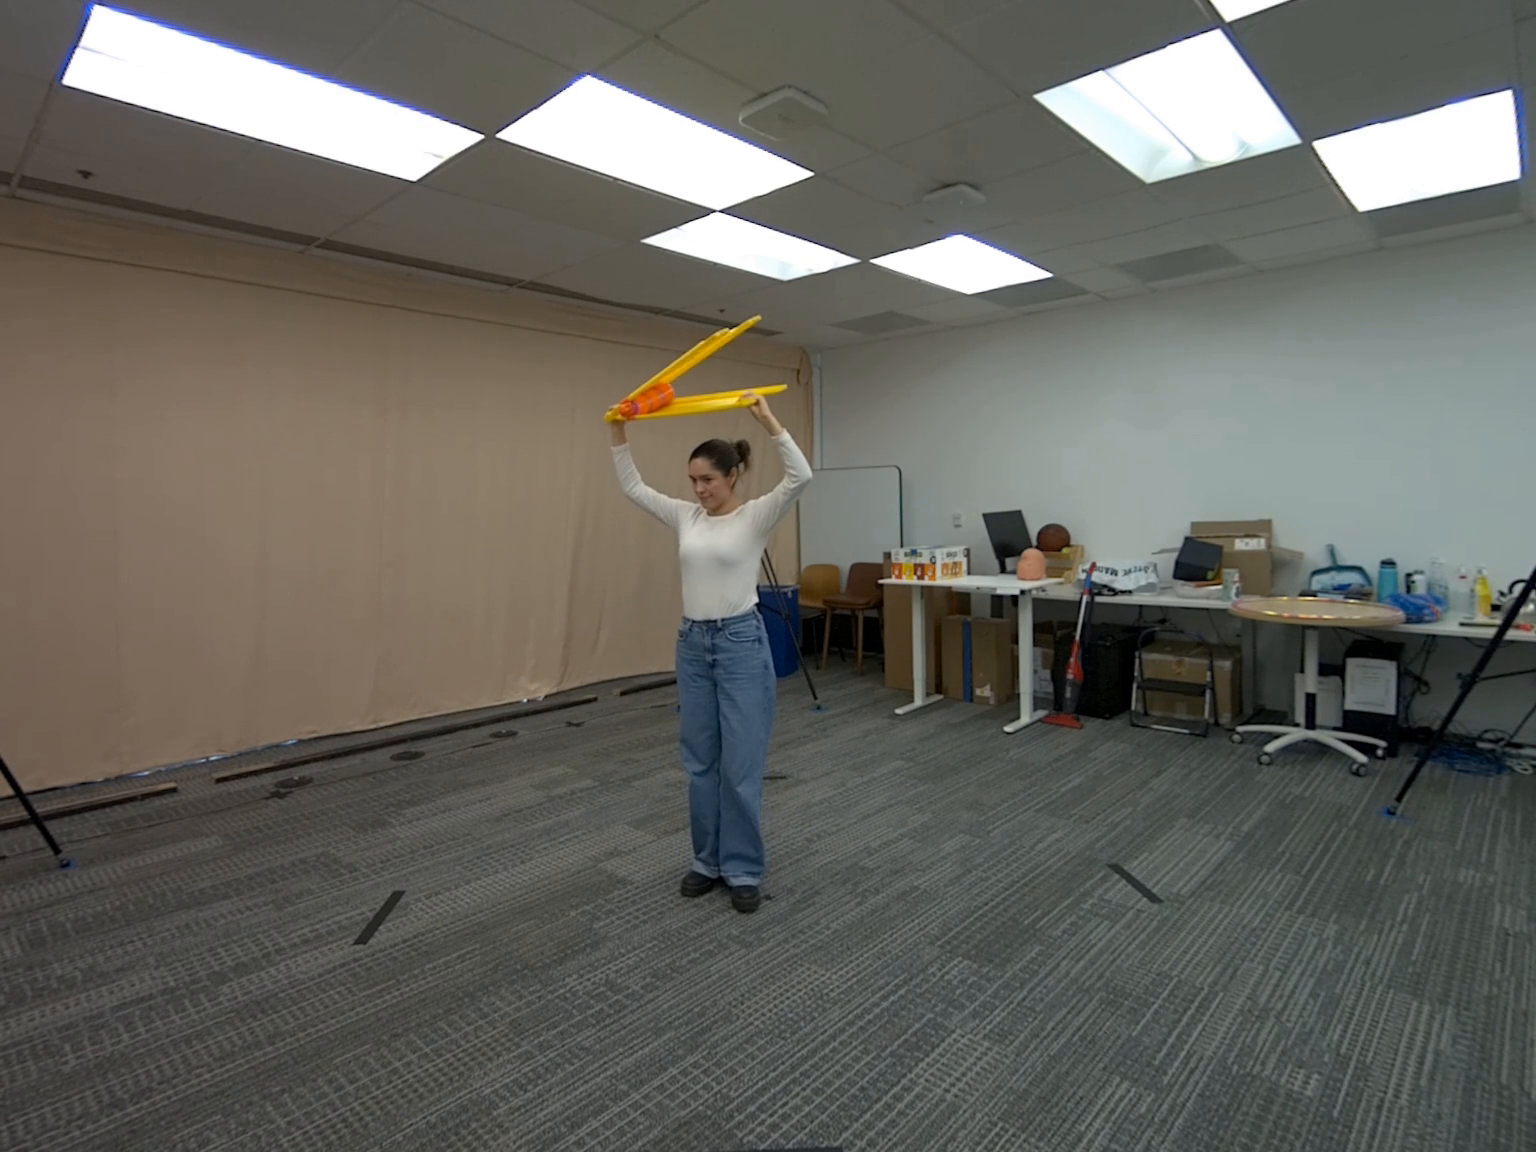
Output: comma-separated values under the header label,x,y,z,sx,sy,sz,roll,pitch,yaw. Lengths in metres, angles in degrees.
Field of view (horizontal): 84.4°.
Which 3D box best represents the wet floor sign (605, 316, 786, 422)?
label,x,y,z,sx,sy,sz,roll,pitch,yaw
wet floor sign,-0.300,-0.662,2.966,0.664,0.286,0.278,-10,18,37
